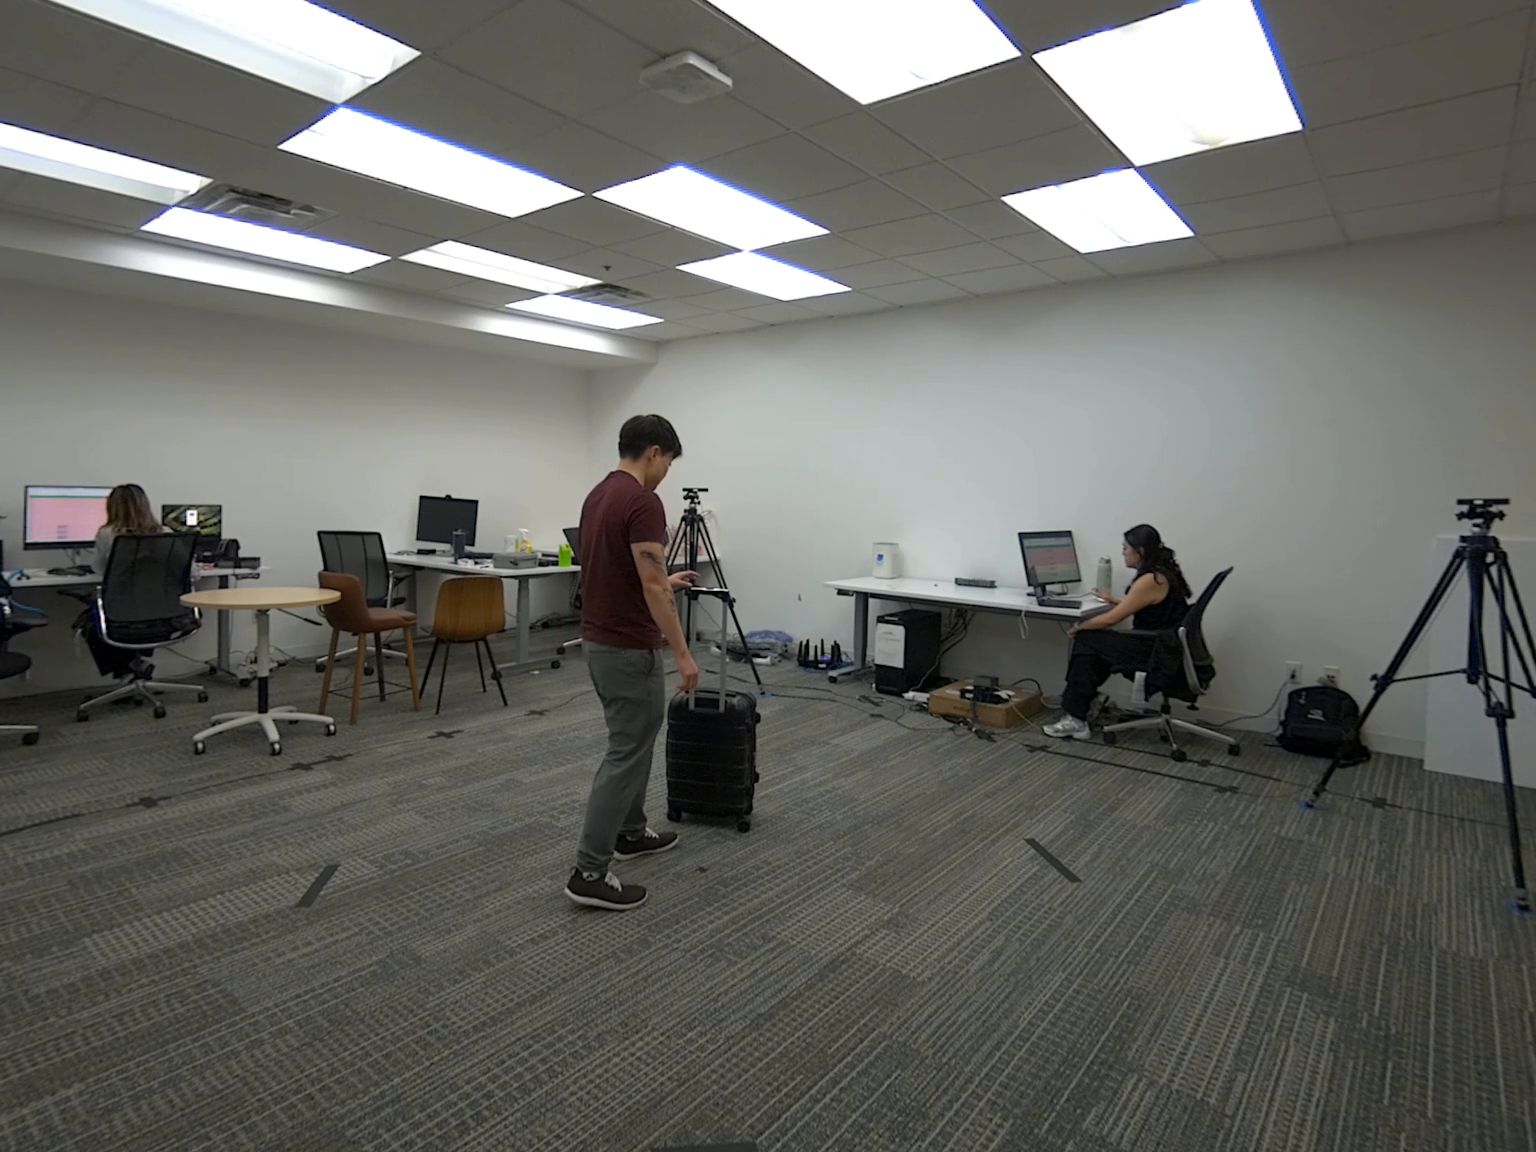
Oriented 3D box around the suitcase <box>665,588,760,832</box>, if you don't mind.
[{"bbox_3d":[-0.240,0.543,3.598,0.389,0.978,0.254,2,0,12],"label":"suitcase"}]
